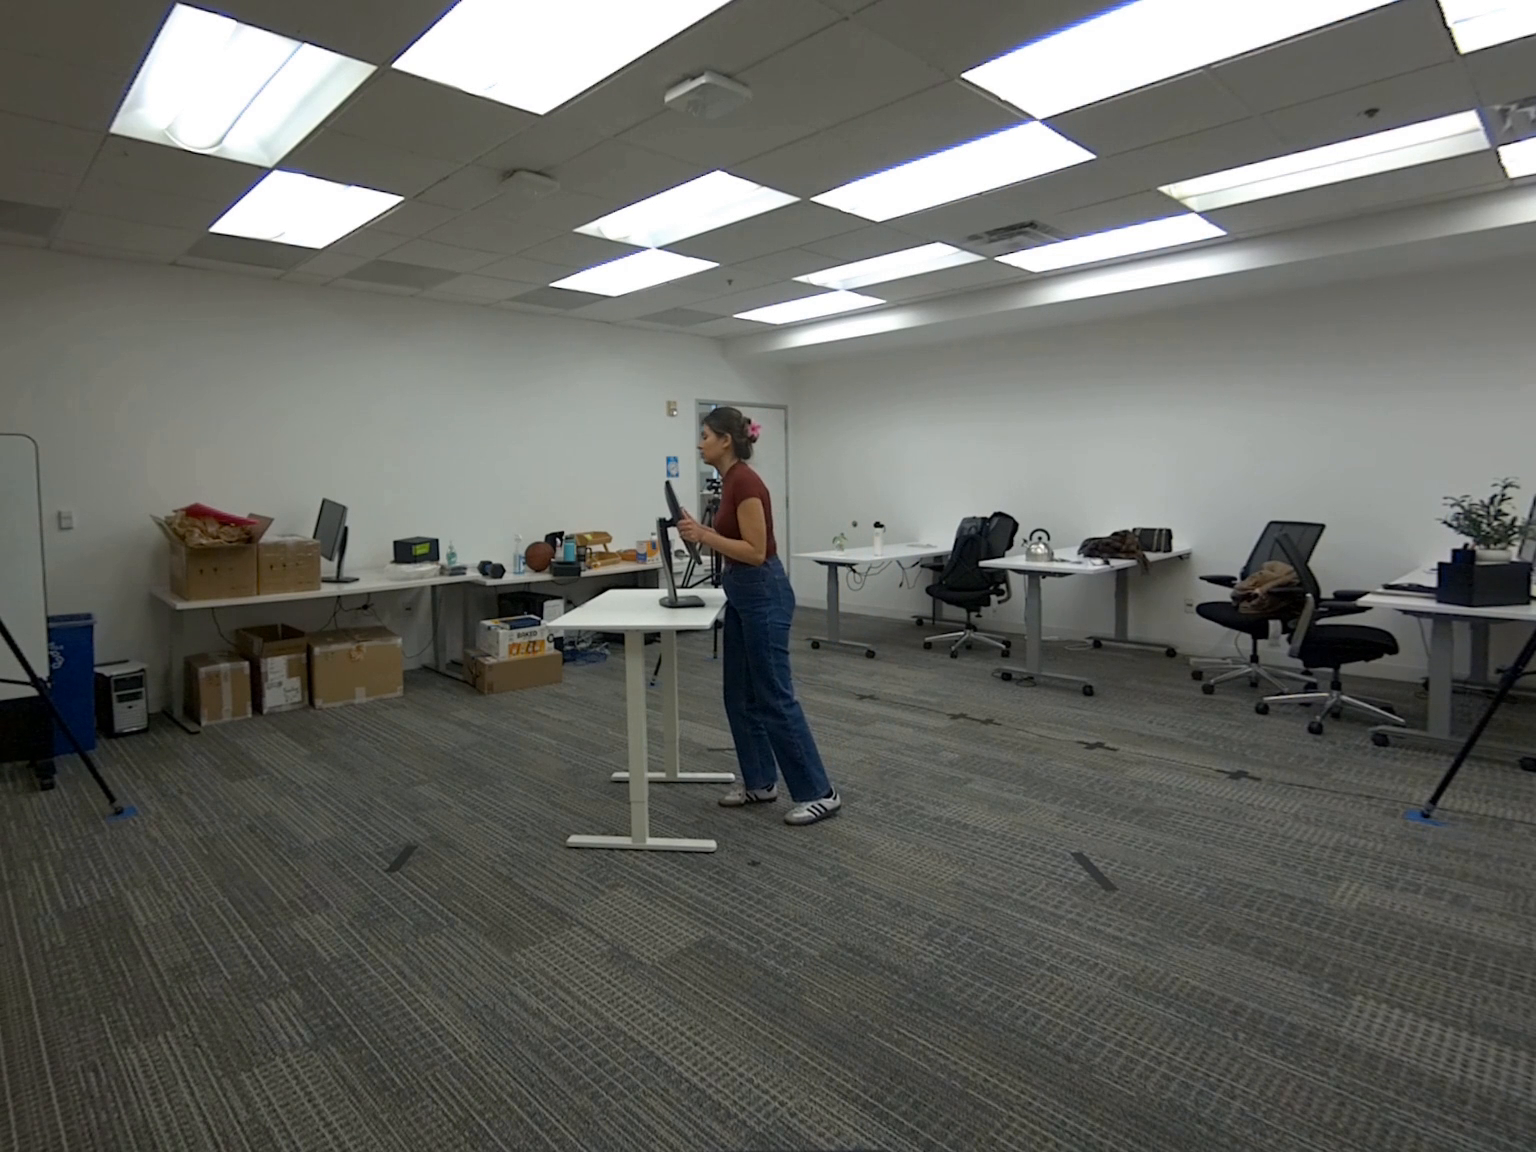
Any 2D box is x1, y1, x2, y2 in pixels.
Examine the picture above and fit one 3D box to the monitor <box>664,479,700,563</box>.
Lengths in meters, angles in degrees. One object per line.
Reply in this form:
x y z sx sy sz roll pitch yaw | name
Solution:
-0.375 -0.141 3.569 0.186 0.521 0.544 -4 4 -7 | monitor
